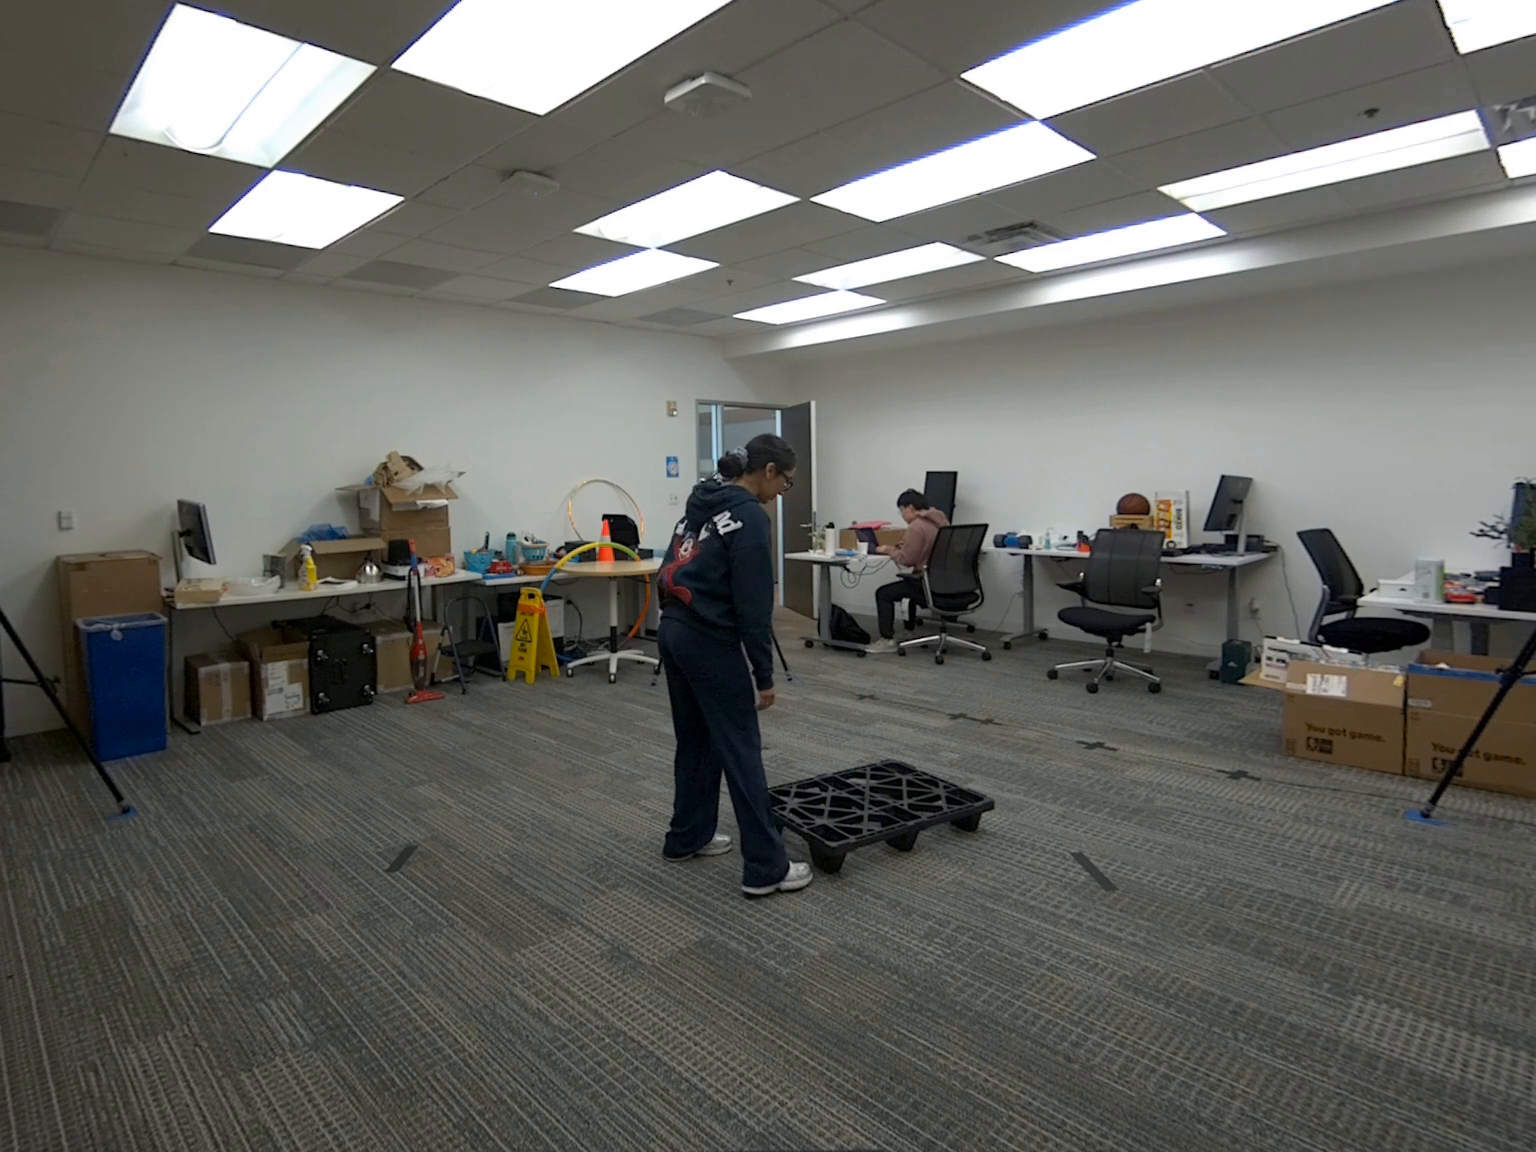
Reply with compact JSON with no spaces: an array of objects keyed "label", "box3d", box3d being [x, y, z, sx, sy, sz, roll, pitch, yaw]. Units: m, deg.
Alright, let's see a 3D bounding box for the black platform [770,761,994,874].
[{"label":"black platform","box3d":[0.390,0.938,3.384,0.786,0.143,0.622,-5,7,-31]}]
